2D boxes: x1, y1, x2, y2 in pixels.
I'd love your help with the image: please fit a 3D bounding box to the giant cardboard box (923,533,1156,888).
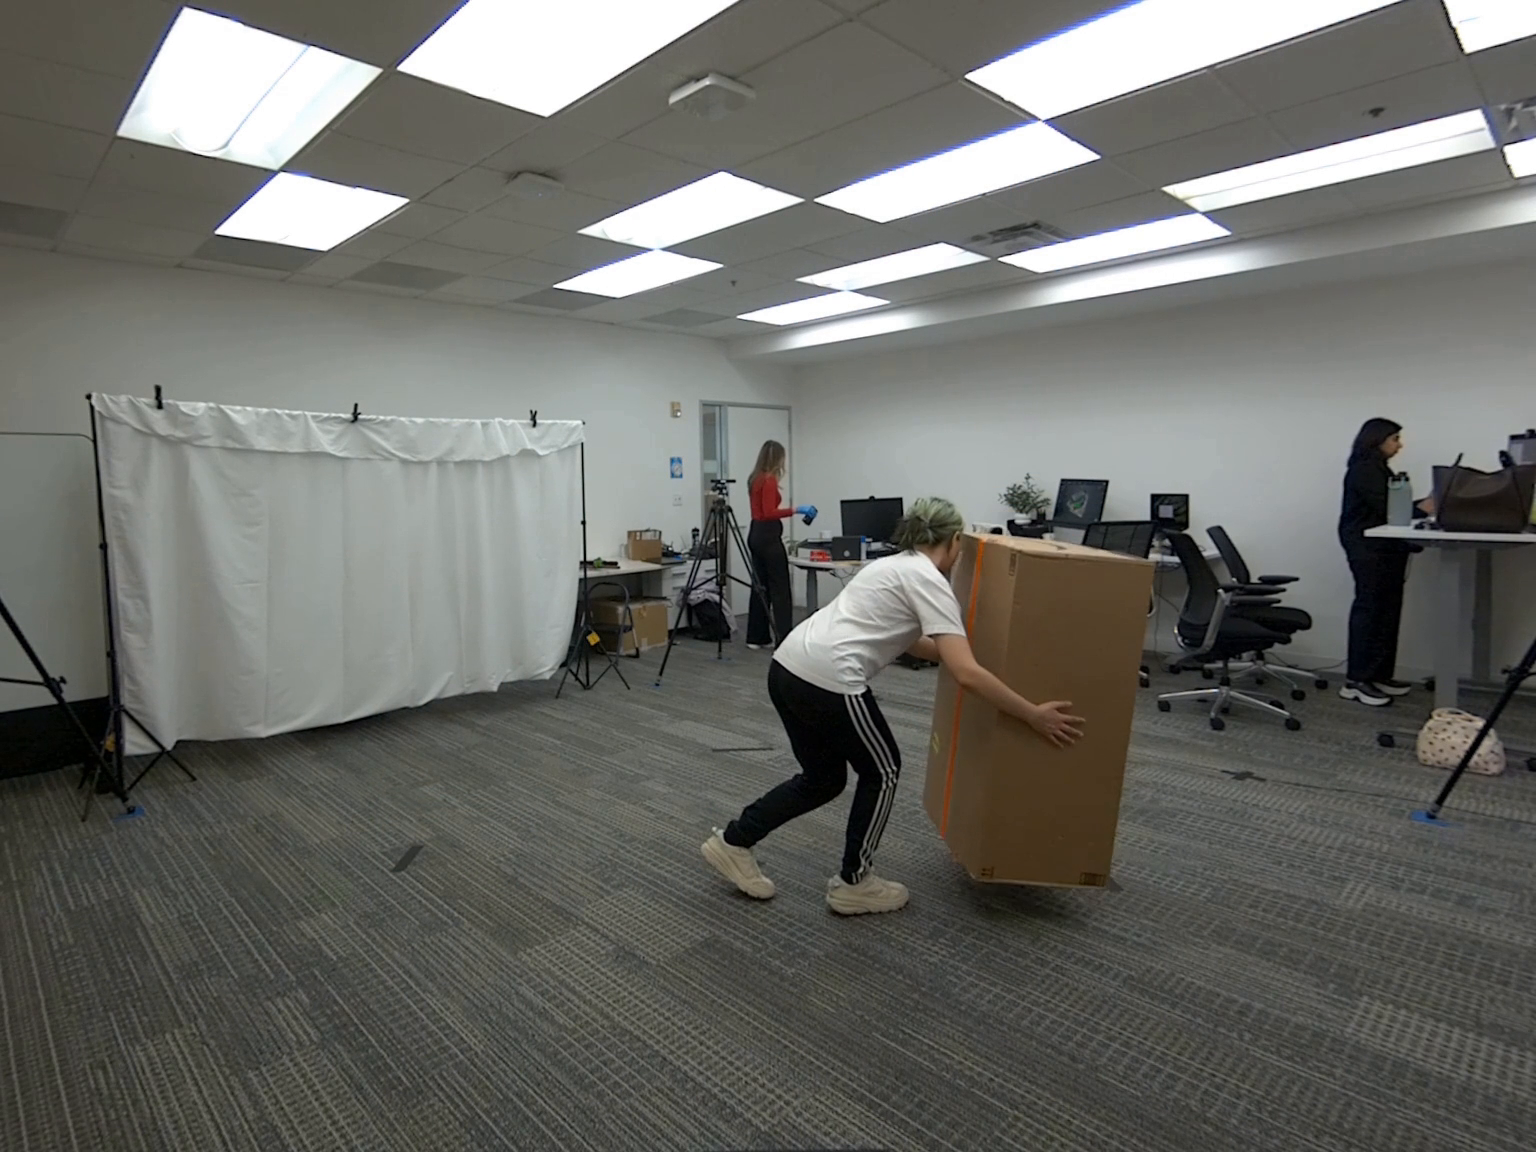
[{"bbox_3d":[0.855,0.407,2.833,0.445,1.023,0.589,6,5,-5],"label":"giant cardboard box"}]
